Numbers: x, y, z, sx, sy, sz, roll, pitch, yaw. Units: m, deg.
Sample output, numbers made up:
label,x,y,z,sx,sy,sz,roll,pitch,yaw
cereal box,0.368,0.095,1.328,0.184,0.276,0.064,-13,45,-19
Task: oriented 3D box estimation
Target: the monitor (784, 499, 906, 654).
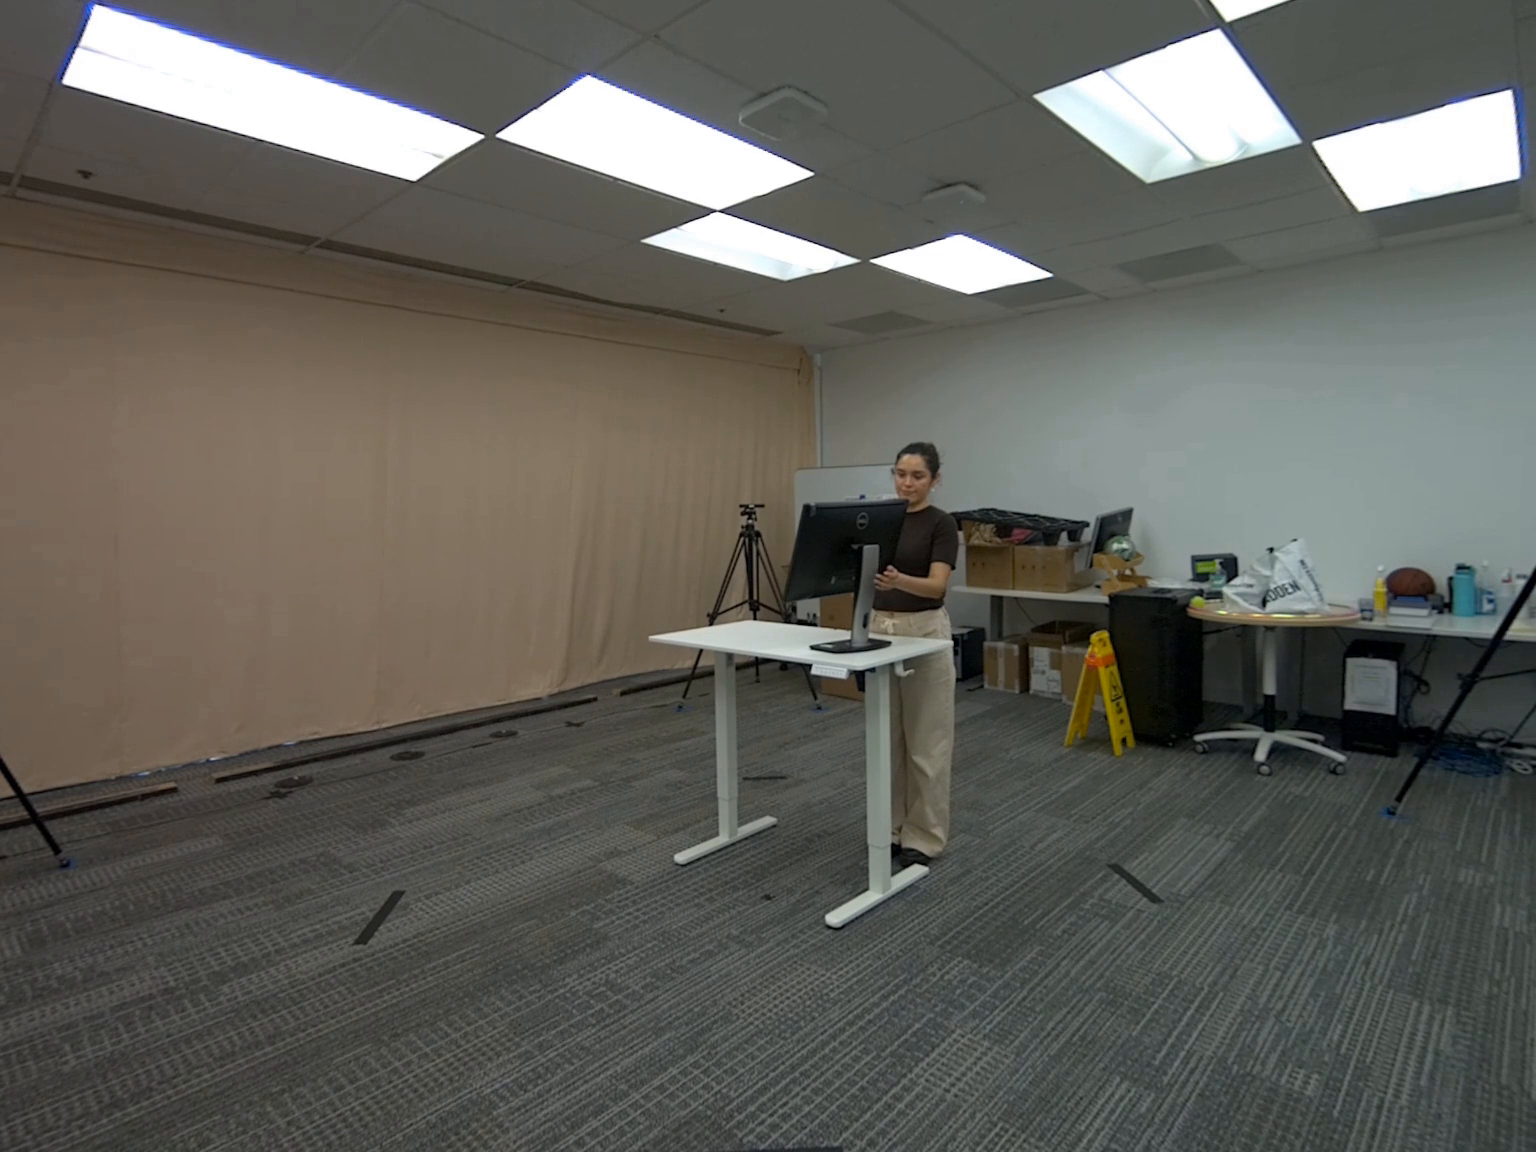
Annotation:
label,x,y,z,sx,sy,sz,roll,pitch,yaw
monitor,0.308,-0.002,2.938,0.523,0.520,0.193,-6,10,-42
